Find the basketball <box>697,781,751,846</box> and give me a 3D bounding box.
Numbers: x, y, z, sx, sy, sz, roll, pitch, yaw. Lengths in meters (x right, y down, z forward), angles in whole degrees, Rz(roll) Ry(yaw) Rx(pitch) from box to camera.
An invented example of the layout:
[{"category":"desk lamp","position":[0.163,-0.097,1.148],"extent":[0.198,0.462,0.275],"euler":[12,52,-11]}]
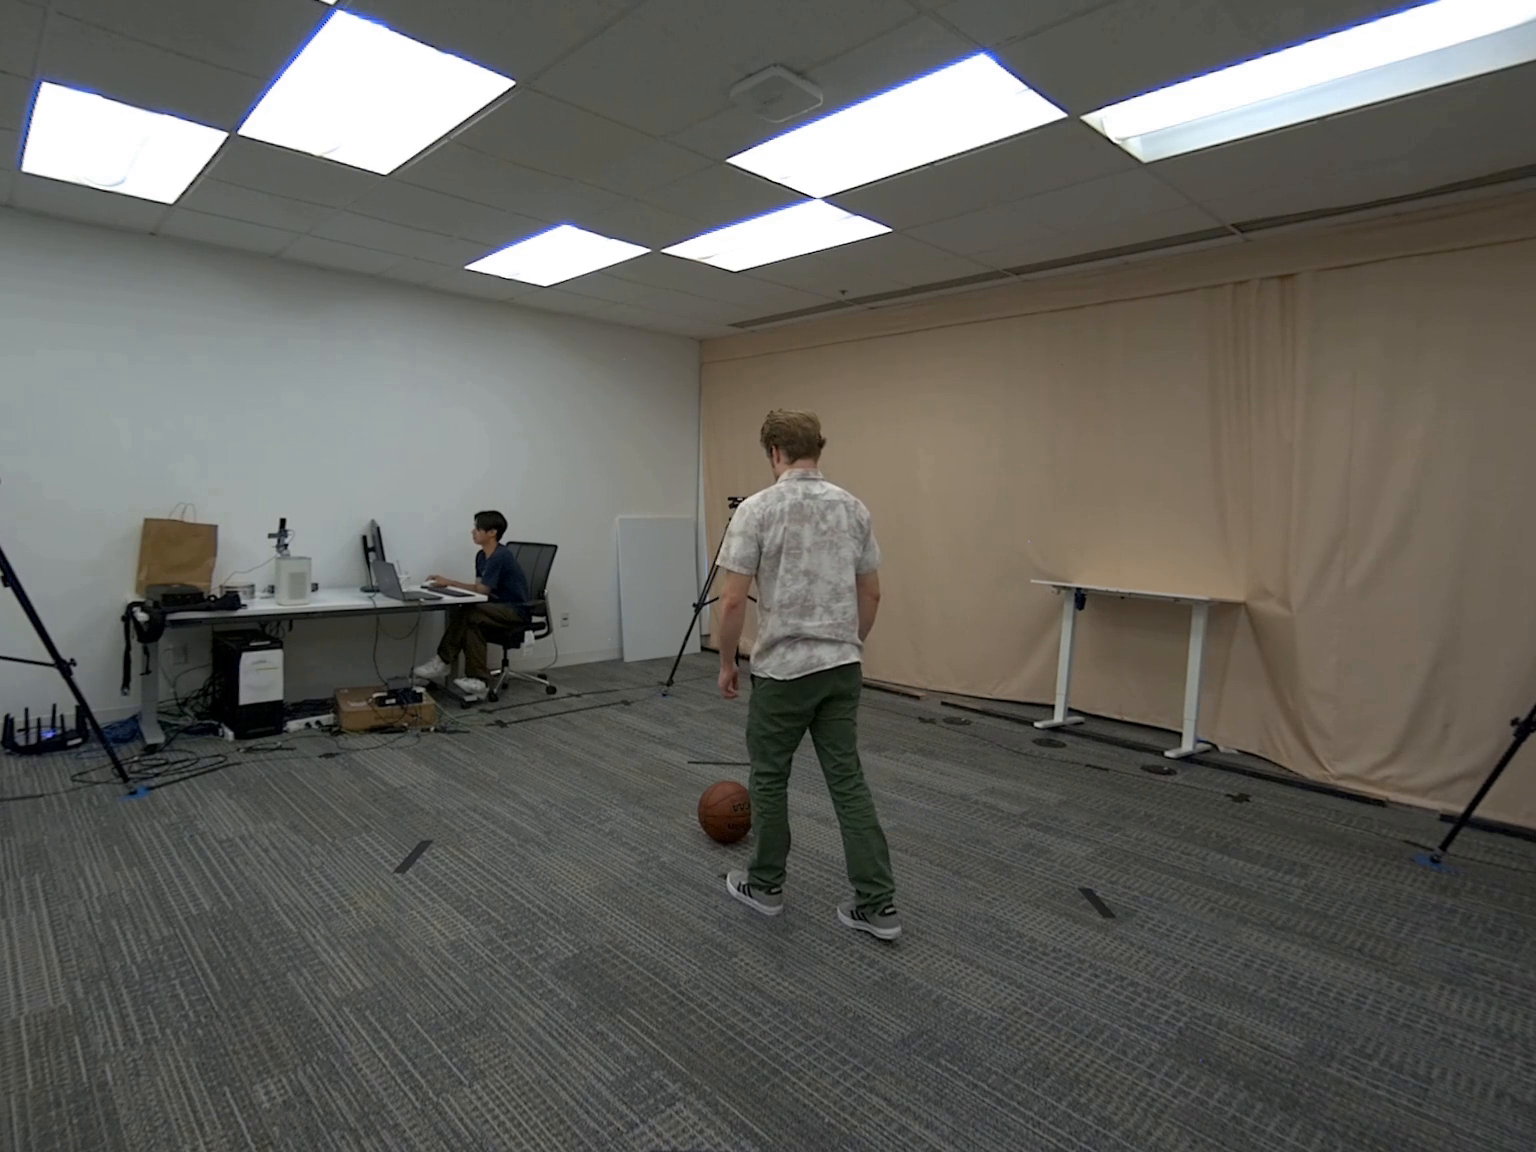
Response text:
[{"category":"basketball","position":[-0.175,0.955,3.435],"extent":[0.236,0.235,0.237],"euler":[1,4,-1]}]
